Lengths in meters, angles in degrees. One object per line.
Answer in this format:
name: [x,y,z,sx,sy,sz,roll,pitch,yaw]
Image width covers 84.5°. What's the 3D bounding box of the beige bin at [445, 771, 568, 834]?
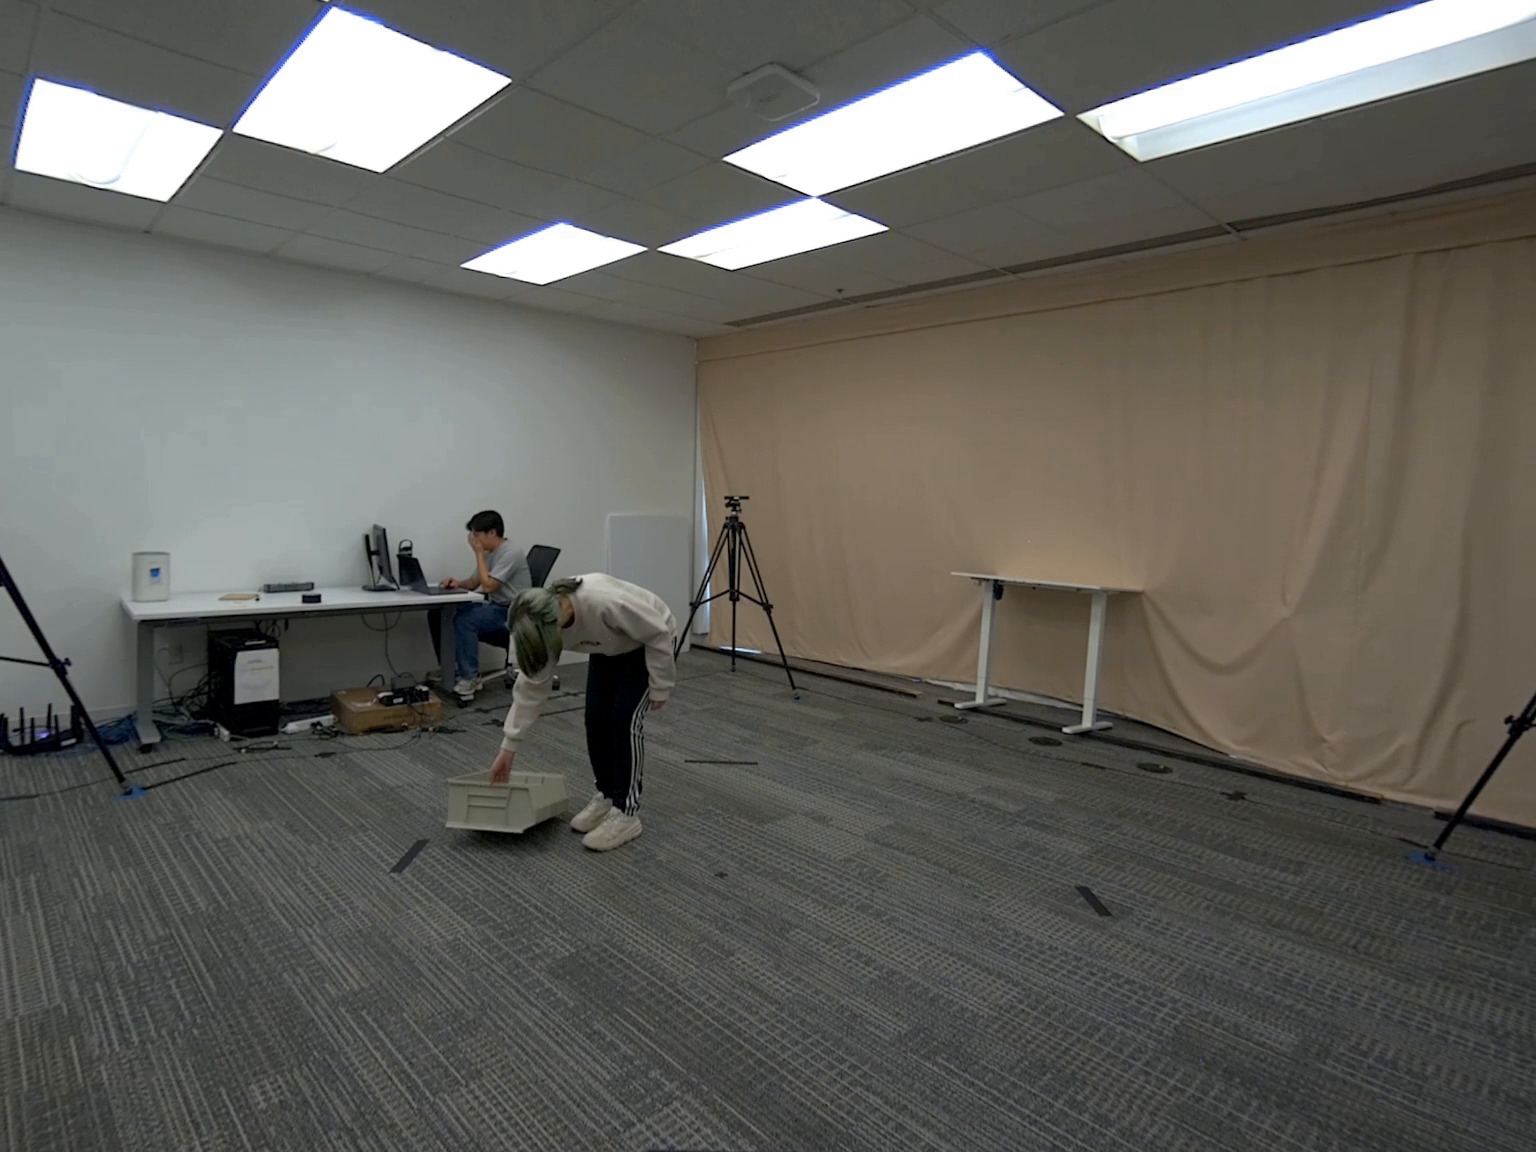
beige bin: [-1.059,0.913,3.456,0.379,0.190,0.418,1,-6,6]
